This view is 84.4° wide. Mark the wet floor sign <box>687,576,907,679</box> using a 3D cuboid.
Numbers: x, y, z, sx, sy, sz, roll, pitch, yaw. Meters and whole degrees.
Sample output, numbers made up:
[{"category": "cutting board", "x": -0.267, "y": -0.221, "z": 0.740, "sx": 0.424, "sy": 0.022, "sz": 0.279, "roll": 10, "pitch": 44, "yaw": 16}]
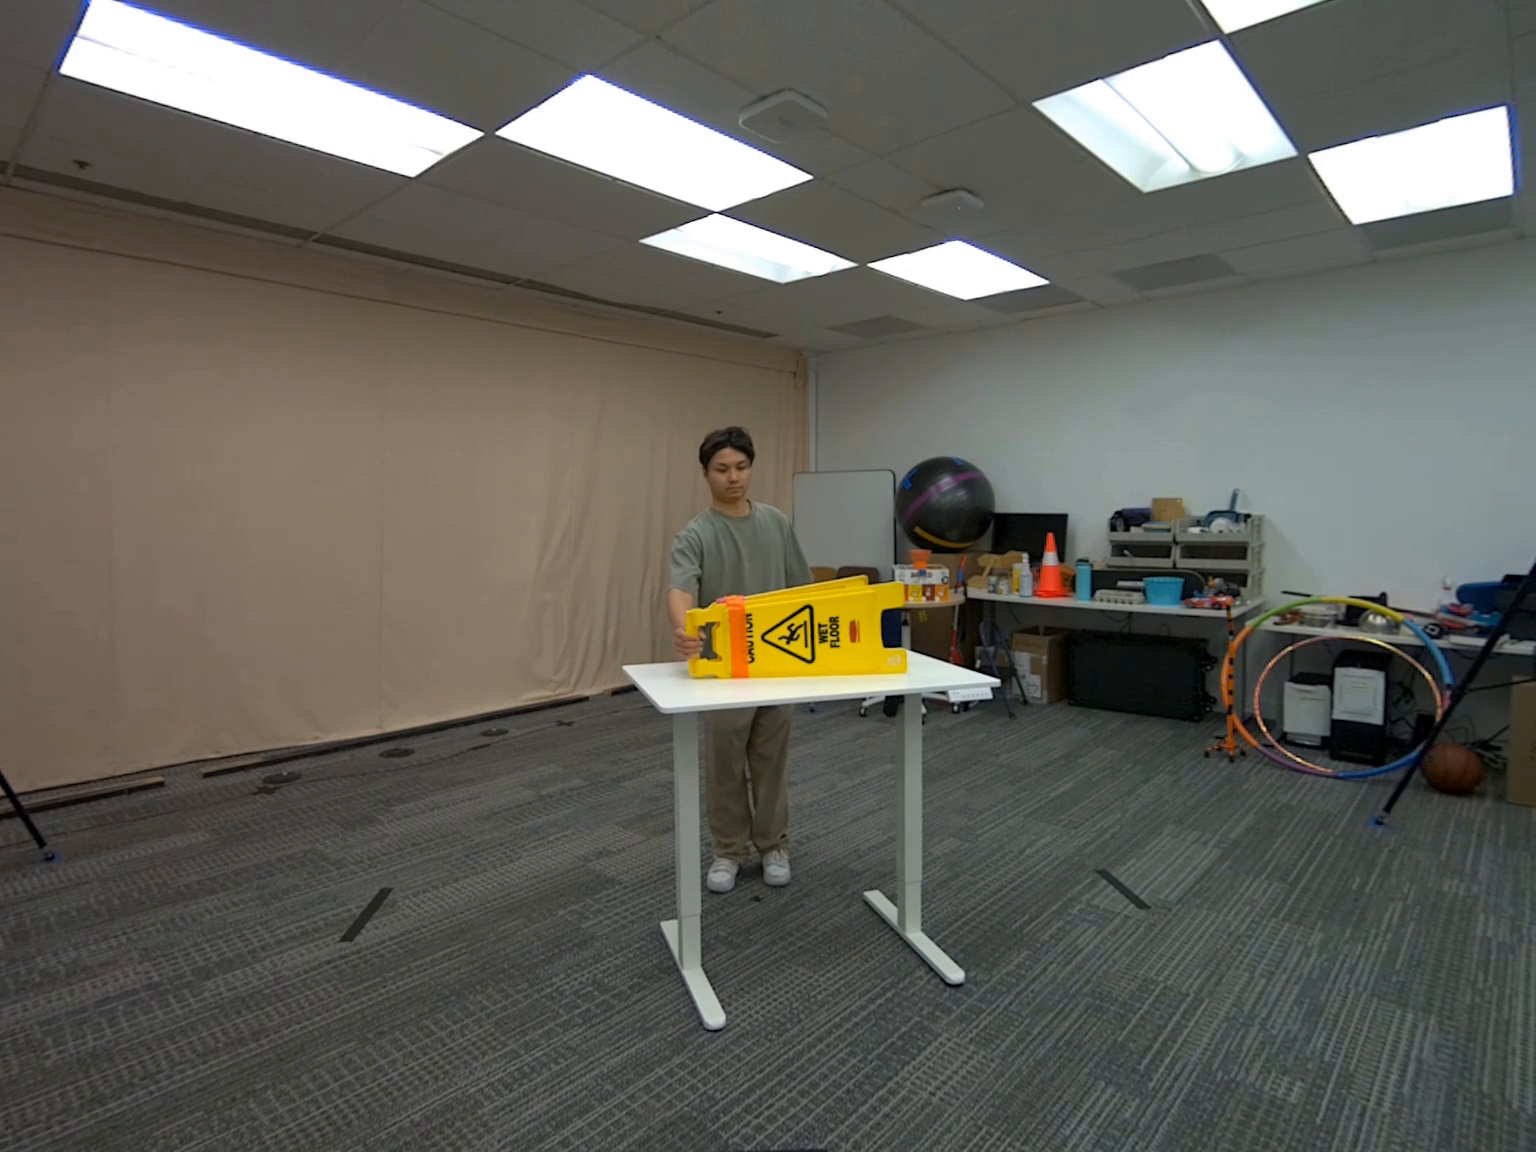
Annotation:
[{"category": "wet floor sign", "x": 0.069, "y": 0.174, "z": 2.567, "sx": 0.636, "sy": 0.281, "sz": 0.295, "roll": -5, "pitch": 5, "yaw": -16}]
